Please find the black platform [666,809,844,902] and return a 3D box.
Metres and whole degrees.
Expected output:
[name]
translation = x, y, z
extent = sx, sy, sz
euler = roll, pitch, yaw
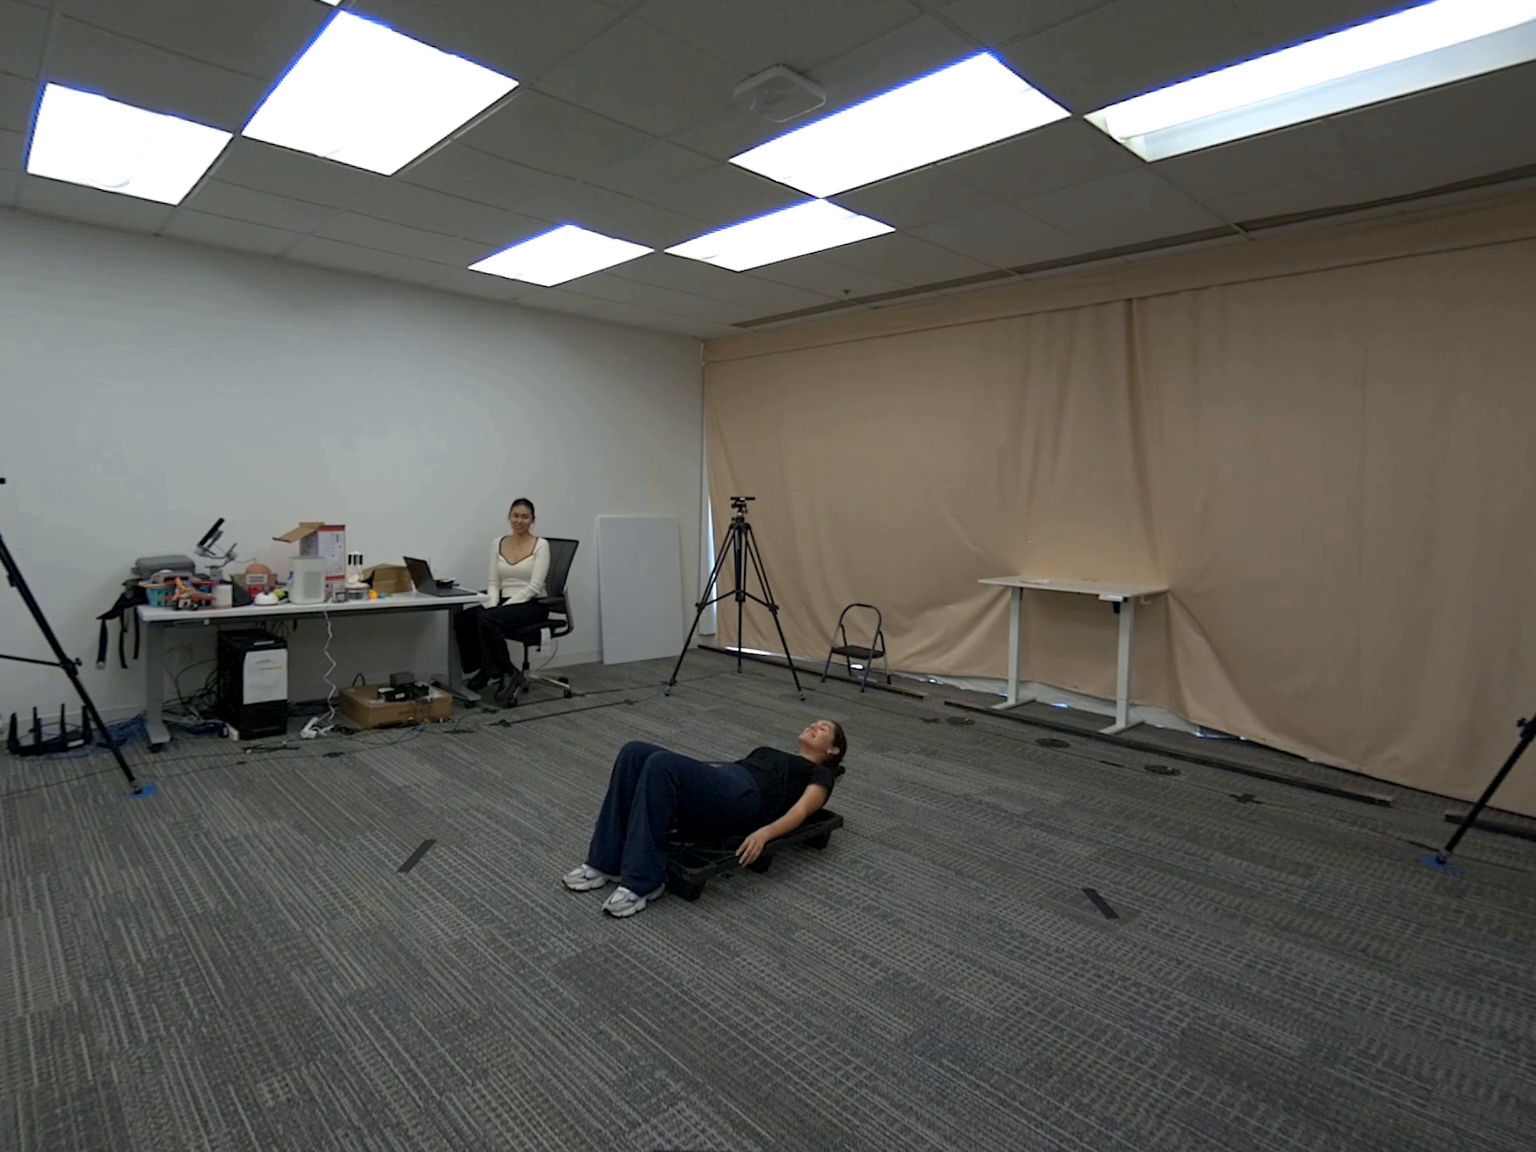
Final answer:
[black platform]
translation = -0.192, 1.026, 3.300
extent = 0.621, 0.143, 0.787
euler = 7, 7, 44
